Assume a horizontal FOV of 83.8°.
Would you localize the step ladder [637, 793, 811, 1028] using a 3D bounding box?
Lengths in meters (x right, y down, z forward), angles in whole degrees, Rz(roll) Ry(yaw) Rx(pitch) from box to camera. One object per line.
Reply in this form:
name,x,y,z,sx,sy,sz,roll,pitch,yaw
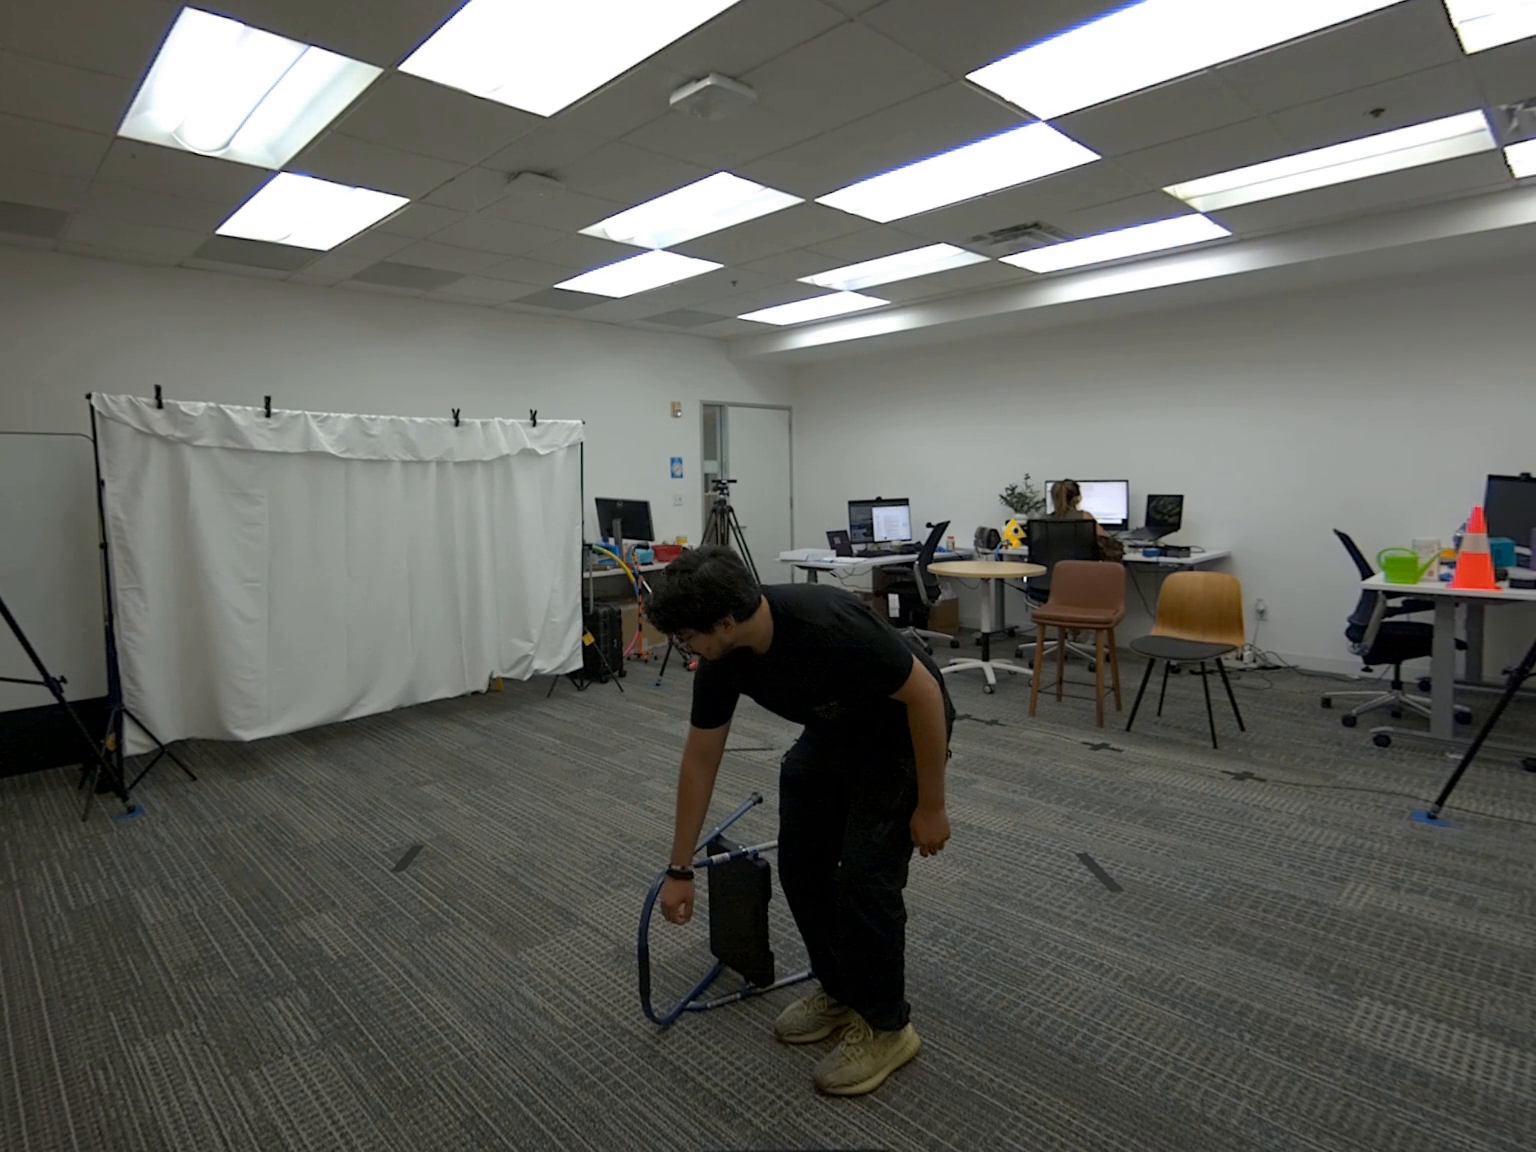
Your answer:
step ladder,-0.133,0.930,2.355,0.591,0.428,0.360,-9,8,-41
